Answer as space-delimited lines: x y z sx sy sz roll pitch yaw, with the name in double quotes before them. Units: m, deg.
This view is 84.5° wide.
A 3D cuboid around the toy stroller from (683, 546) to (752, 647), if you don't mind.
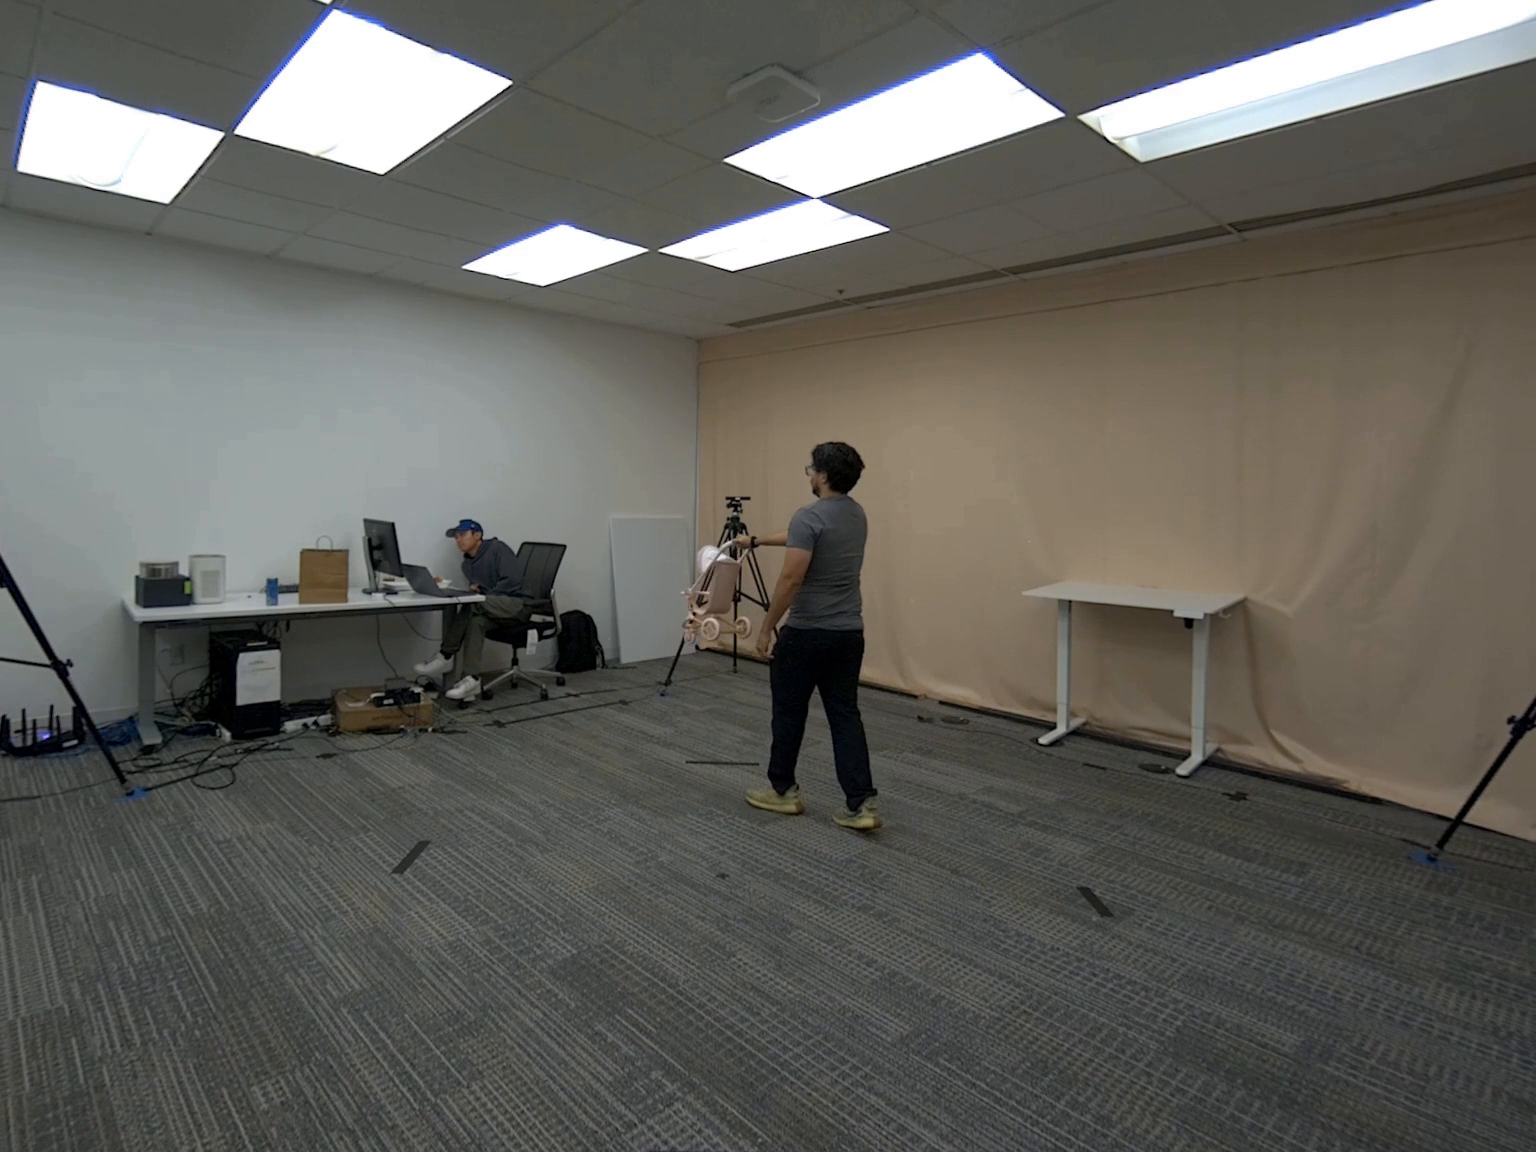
"toy stroller" -0.281 0.090 4.150 0.350 0.535 0.274 5 1 43
